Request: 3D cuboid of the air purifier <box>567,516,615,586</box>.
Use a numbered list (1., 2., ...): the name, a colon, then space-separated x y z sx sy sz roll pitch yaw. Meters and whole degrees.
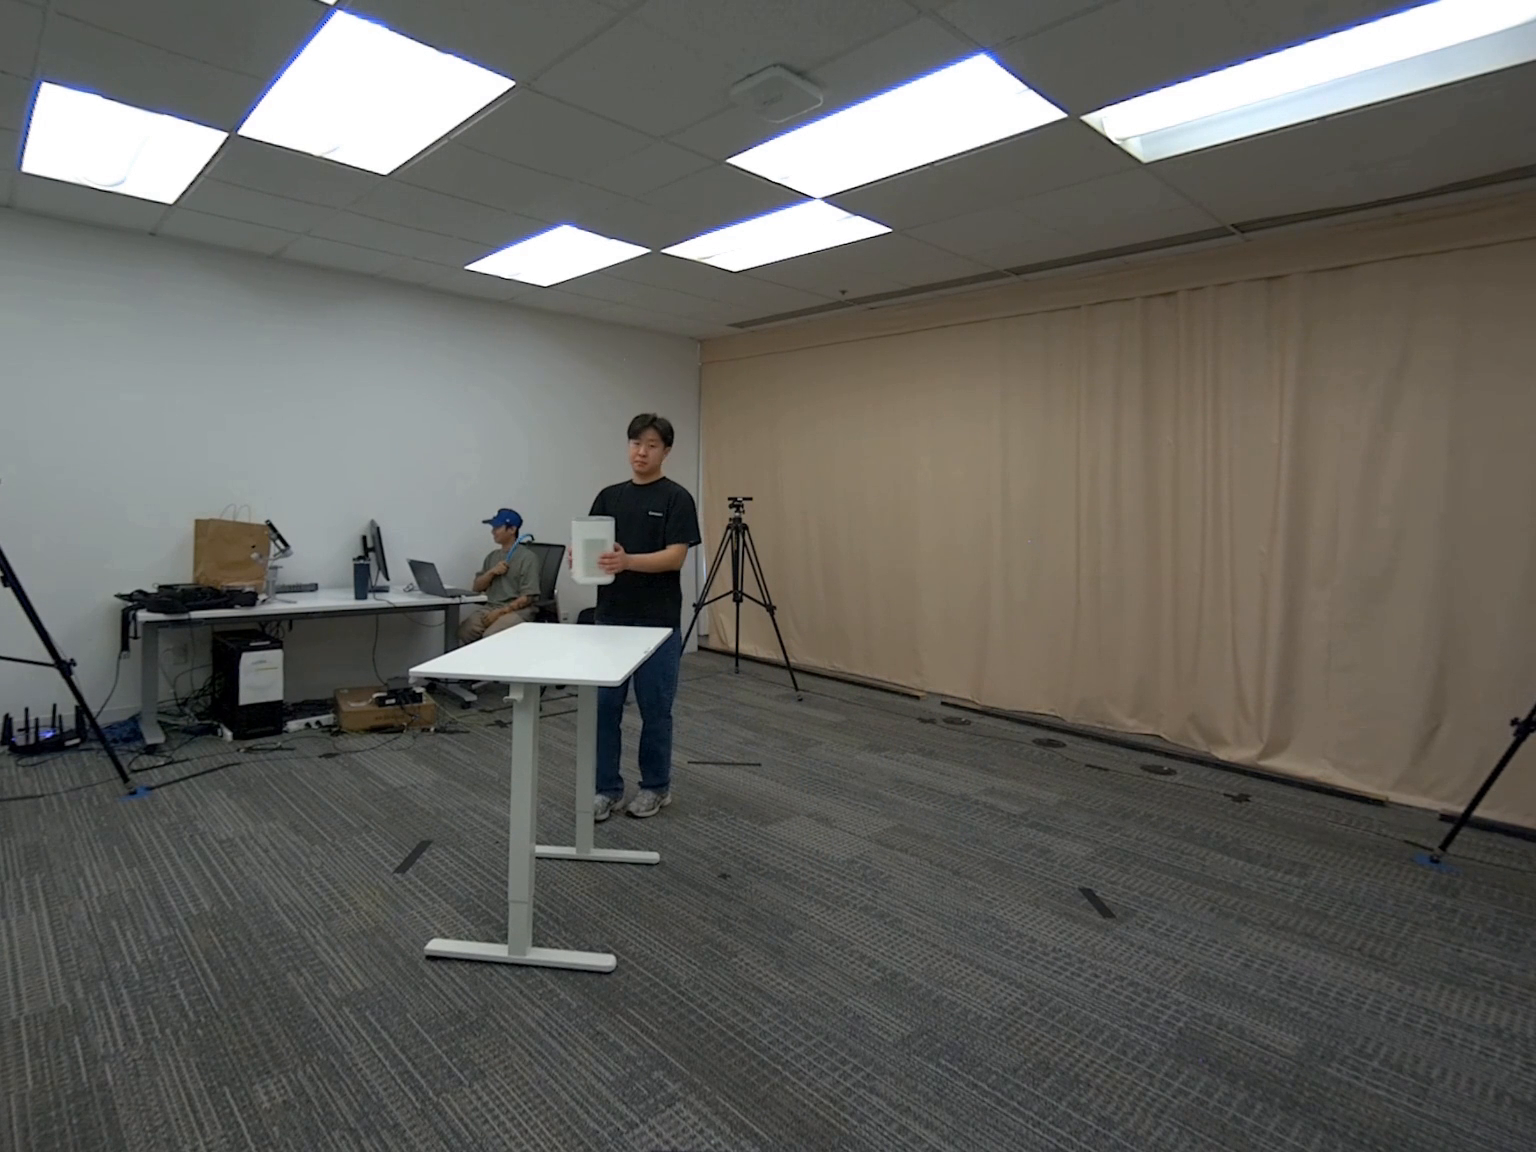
1. air purifier: -0.712 -0.105 3.427 0.169 0.264 0.174 0 7 -17
